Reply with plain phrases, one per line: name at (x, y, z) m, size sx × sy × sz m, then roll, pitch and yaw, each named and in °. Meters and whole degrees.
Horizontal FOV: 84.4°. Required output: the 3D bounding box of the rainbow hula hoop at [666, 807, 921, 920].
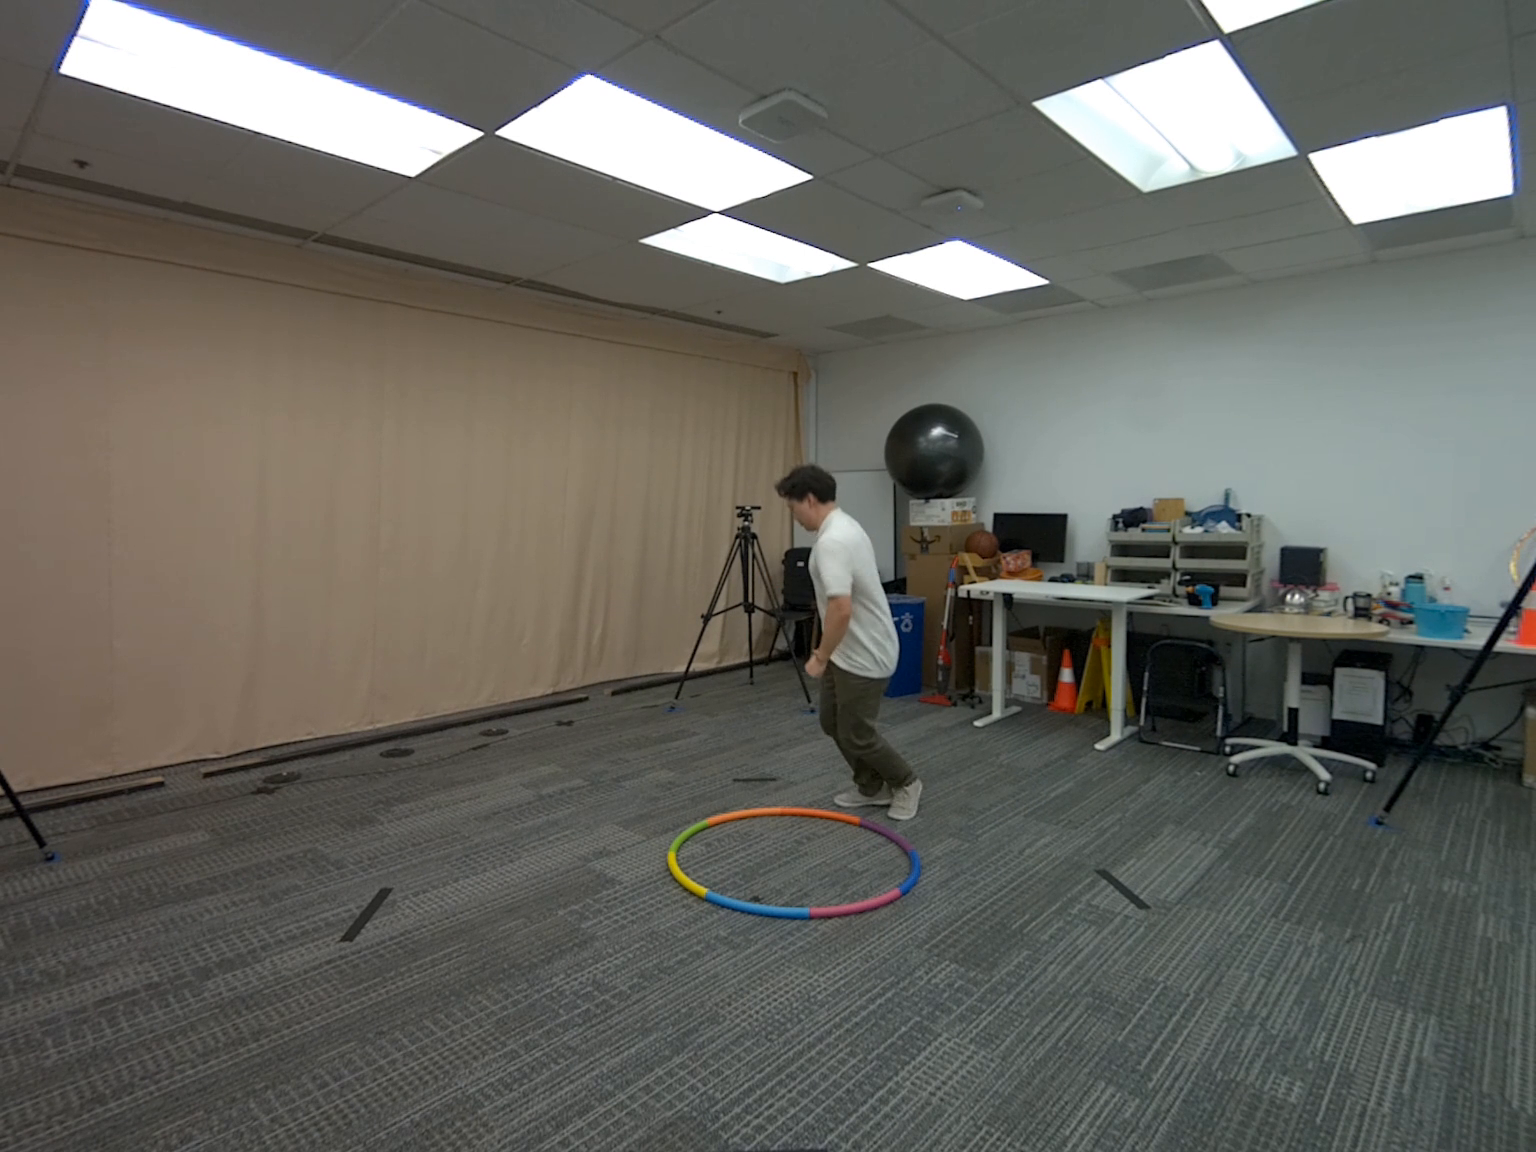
rainbow hula hoop at (0.096, 1.087, 3.317) m, size 0.978 × 0.035 × 0.982 m, roll 0°, pitch 5°, yaw -2°
